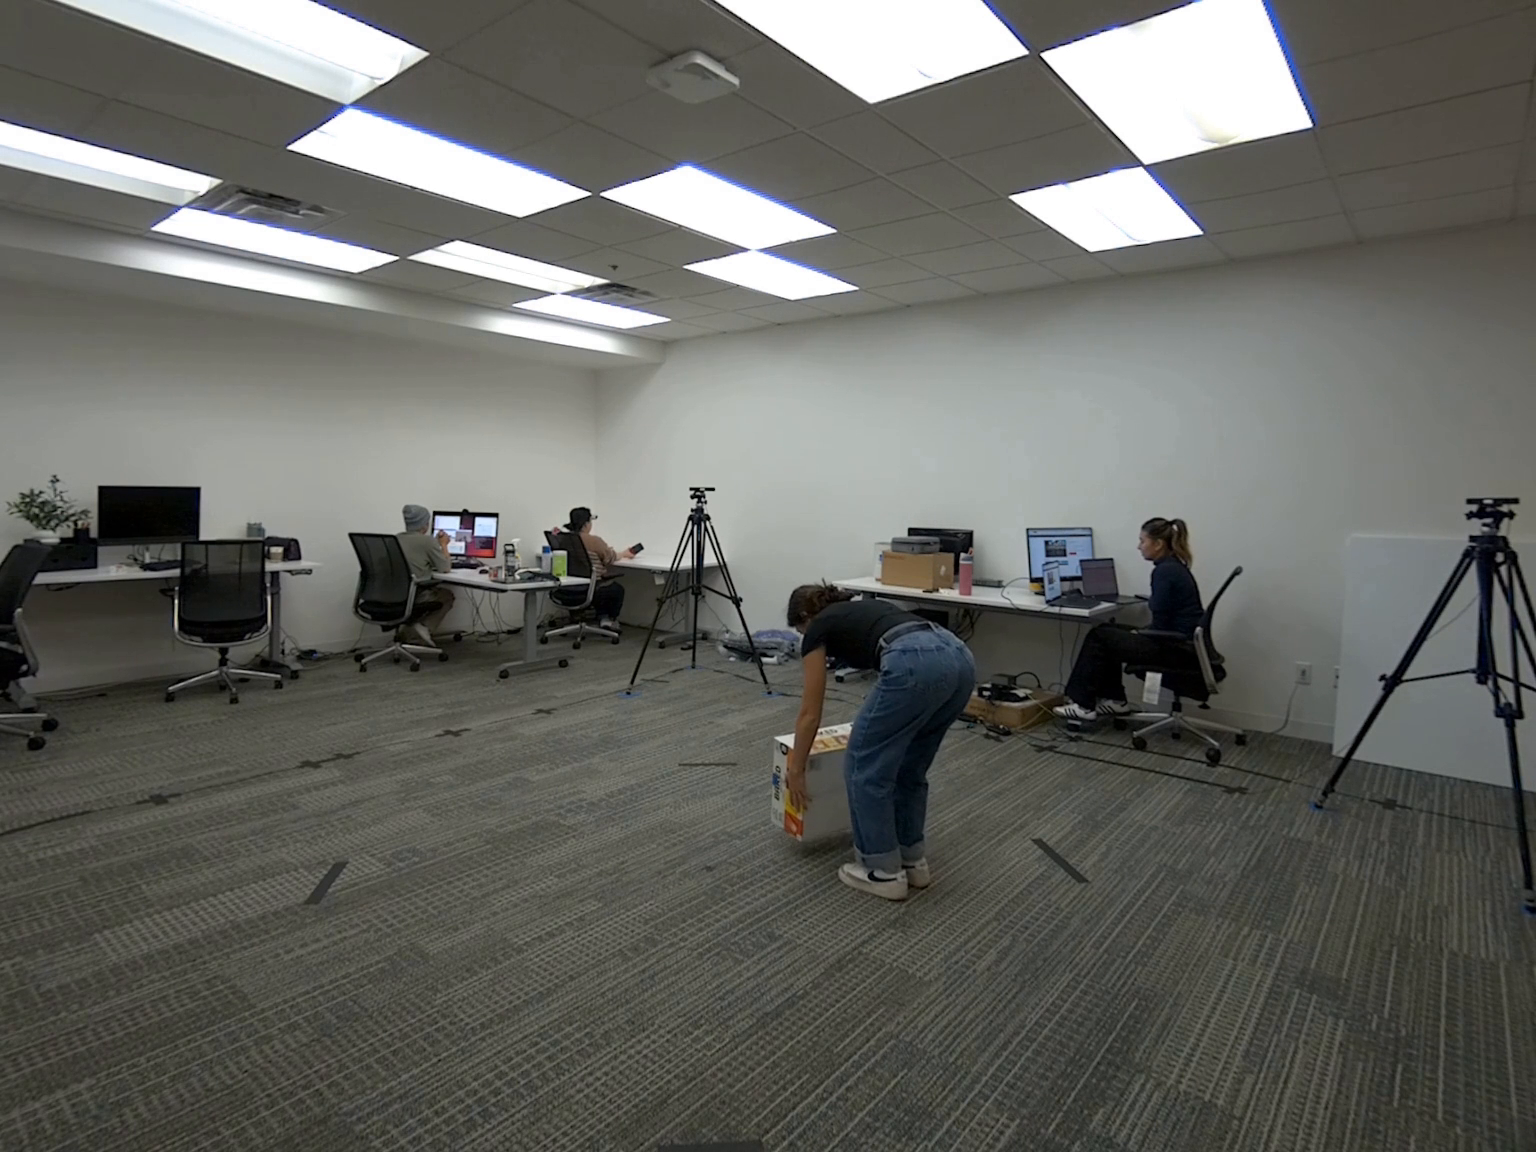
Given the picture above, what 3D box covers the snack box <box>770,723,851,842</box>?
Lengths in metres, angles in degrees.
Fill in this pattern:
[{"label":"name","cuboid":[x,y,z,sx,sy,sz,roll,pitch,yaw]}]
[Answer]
[{"label":"snack box","cuboid":[0.230,0.790,3.331,0.394,0.338,0.213,-3,10,-32]}]
